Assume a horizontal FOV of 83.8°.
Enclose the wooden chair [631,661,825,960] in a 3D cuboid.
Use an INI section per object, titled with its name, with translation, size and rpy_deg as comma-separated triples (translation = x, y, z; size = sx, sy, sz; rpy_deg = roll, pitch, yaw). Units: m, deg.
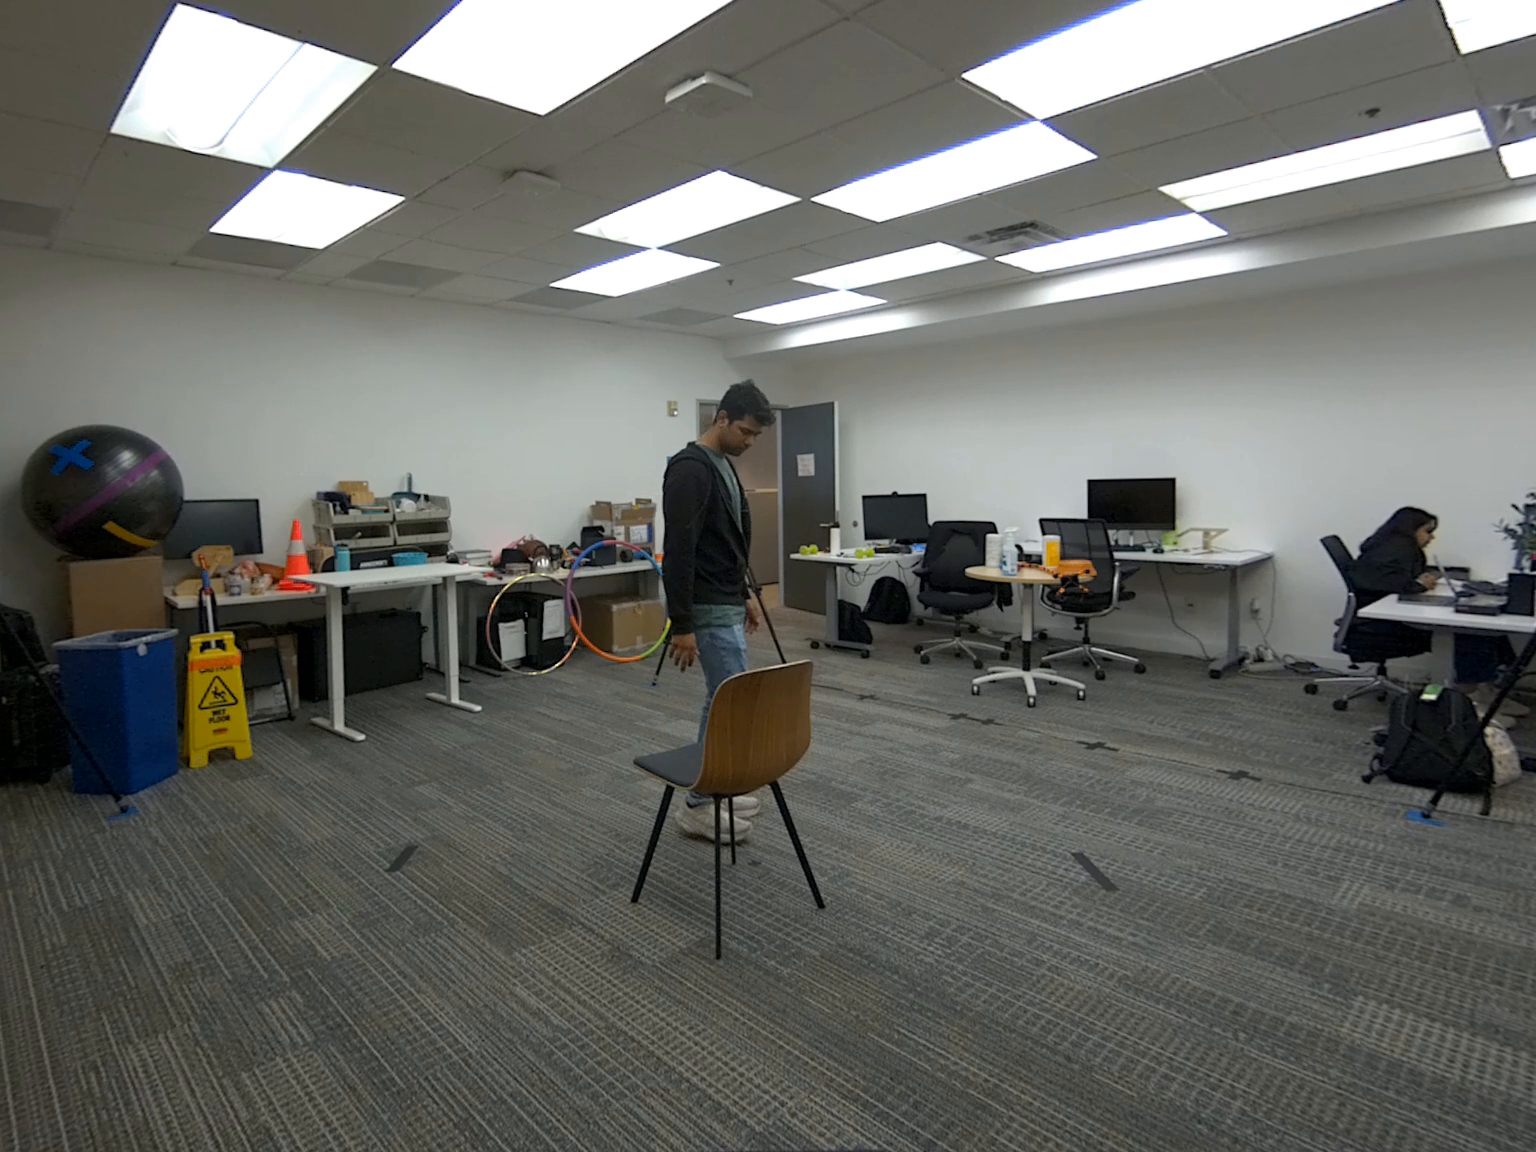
[wooden chair]
translation = -0.141, 0.656, 2.782
size = 0.466, 0.871, 0.541
rpy_deg = -5, 11, -41
